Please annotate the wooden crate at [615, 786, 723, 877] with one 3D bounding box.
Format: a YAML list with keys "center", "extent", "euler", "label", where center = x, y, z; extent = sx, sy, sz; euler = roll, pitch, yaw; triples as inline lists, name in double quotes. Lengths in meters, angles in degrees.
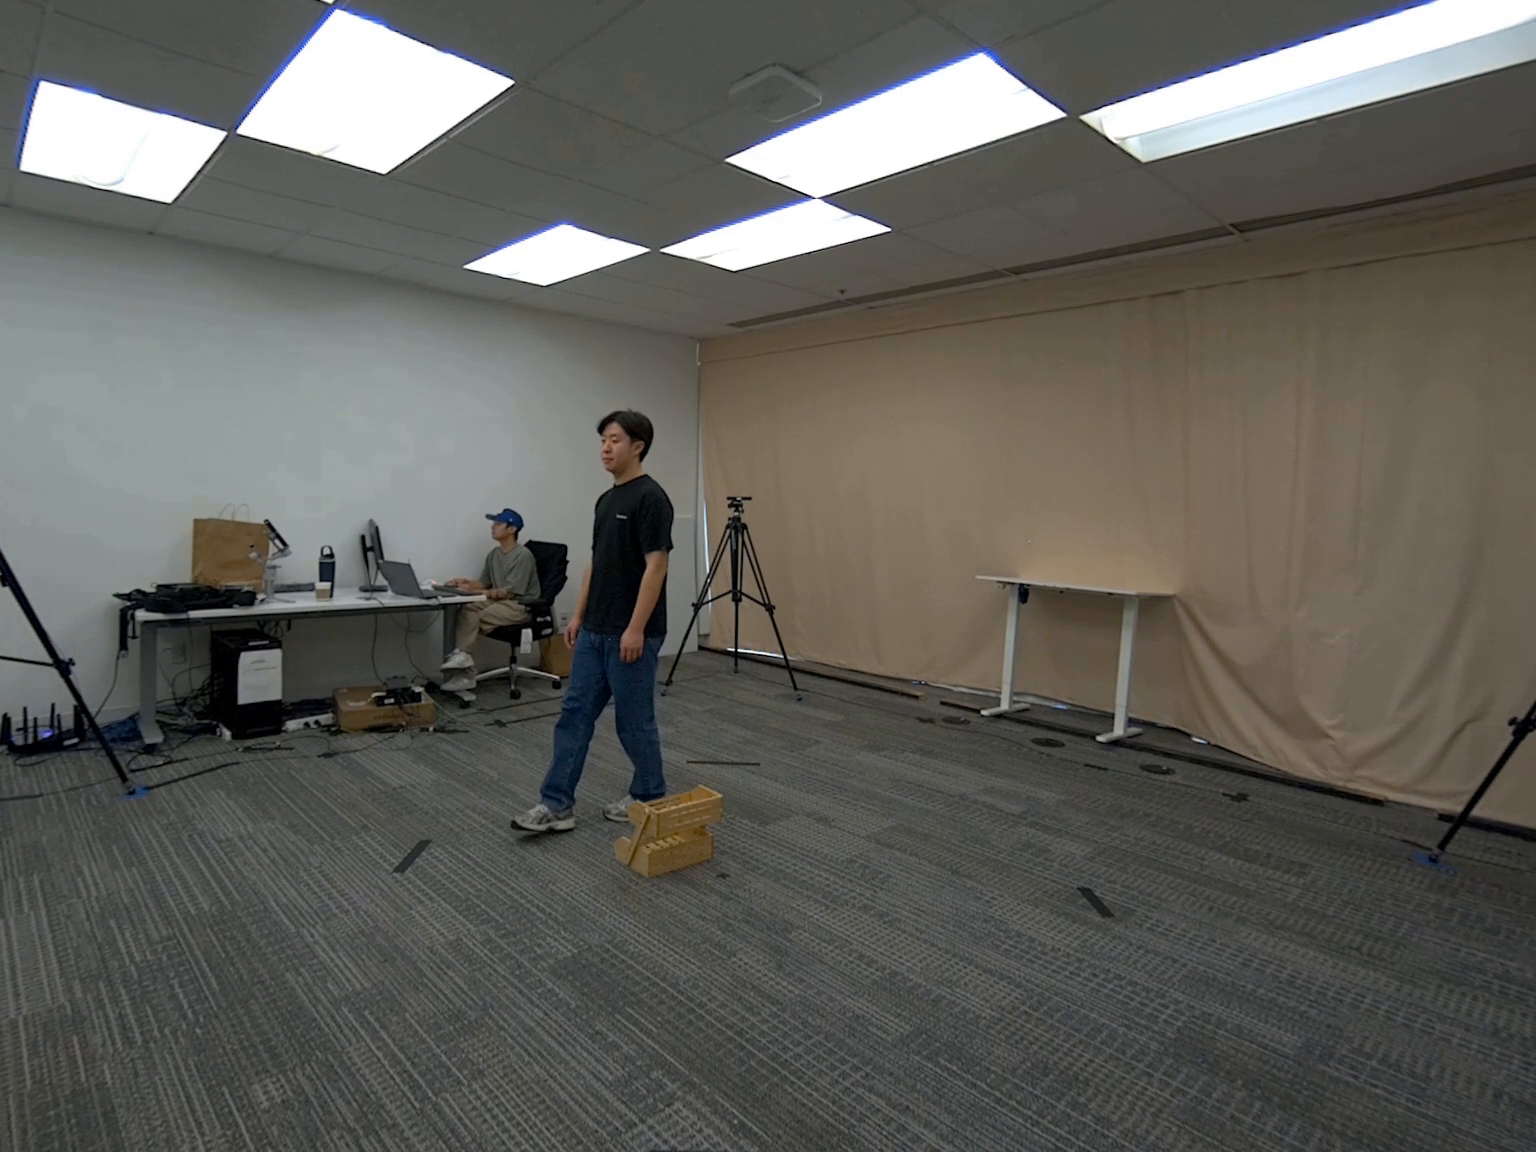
- center: [-0.391, 0.958, 3.230]
  extent: [0.317, 0.272, 0.310]
  euler: [-2, 6, -40]
  label: "wooden crate"
